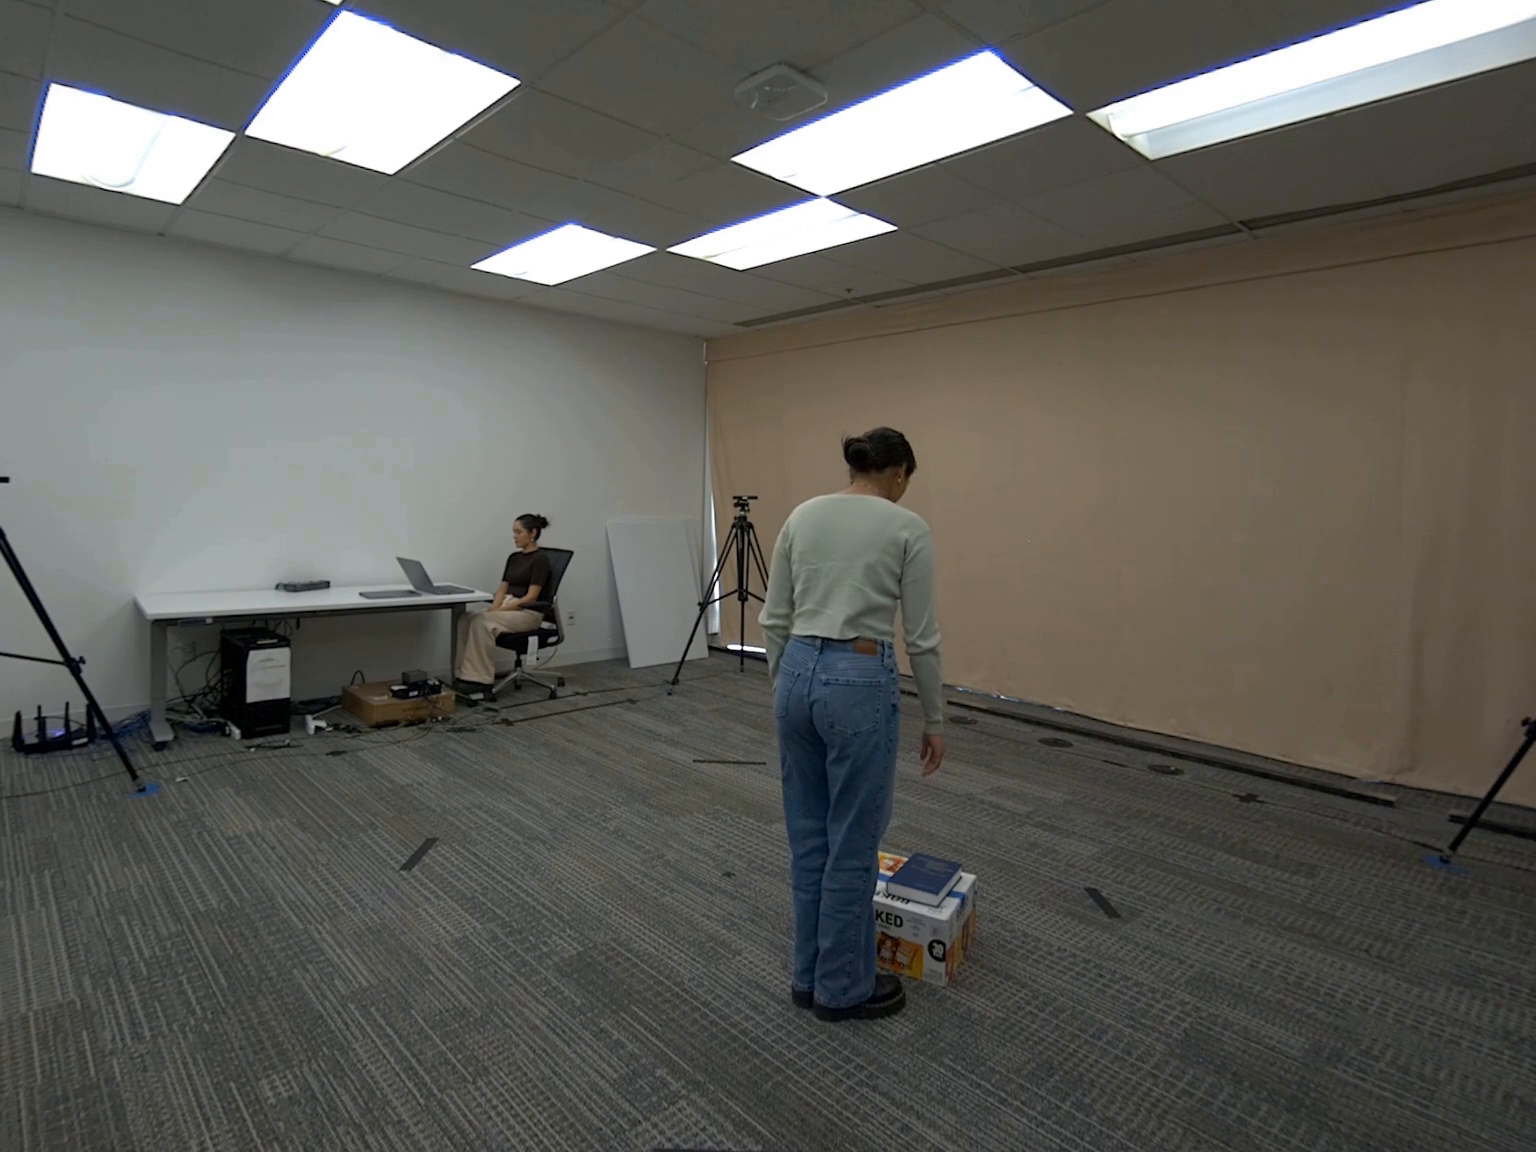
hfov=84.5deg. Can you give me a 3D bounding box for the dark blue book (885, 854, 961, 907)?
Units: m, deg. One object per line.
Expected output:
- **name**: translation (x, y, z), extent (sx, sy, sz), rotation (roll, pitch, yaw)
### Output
- **dark blue book**: translation (0.486, 0.942, 2.622), extent (0.167, 0.045, 0.240), rotation (5, 7, 30)
